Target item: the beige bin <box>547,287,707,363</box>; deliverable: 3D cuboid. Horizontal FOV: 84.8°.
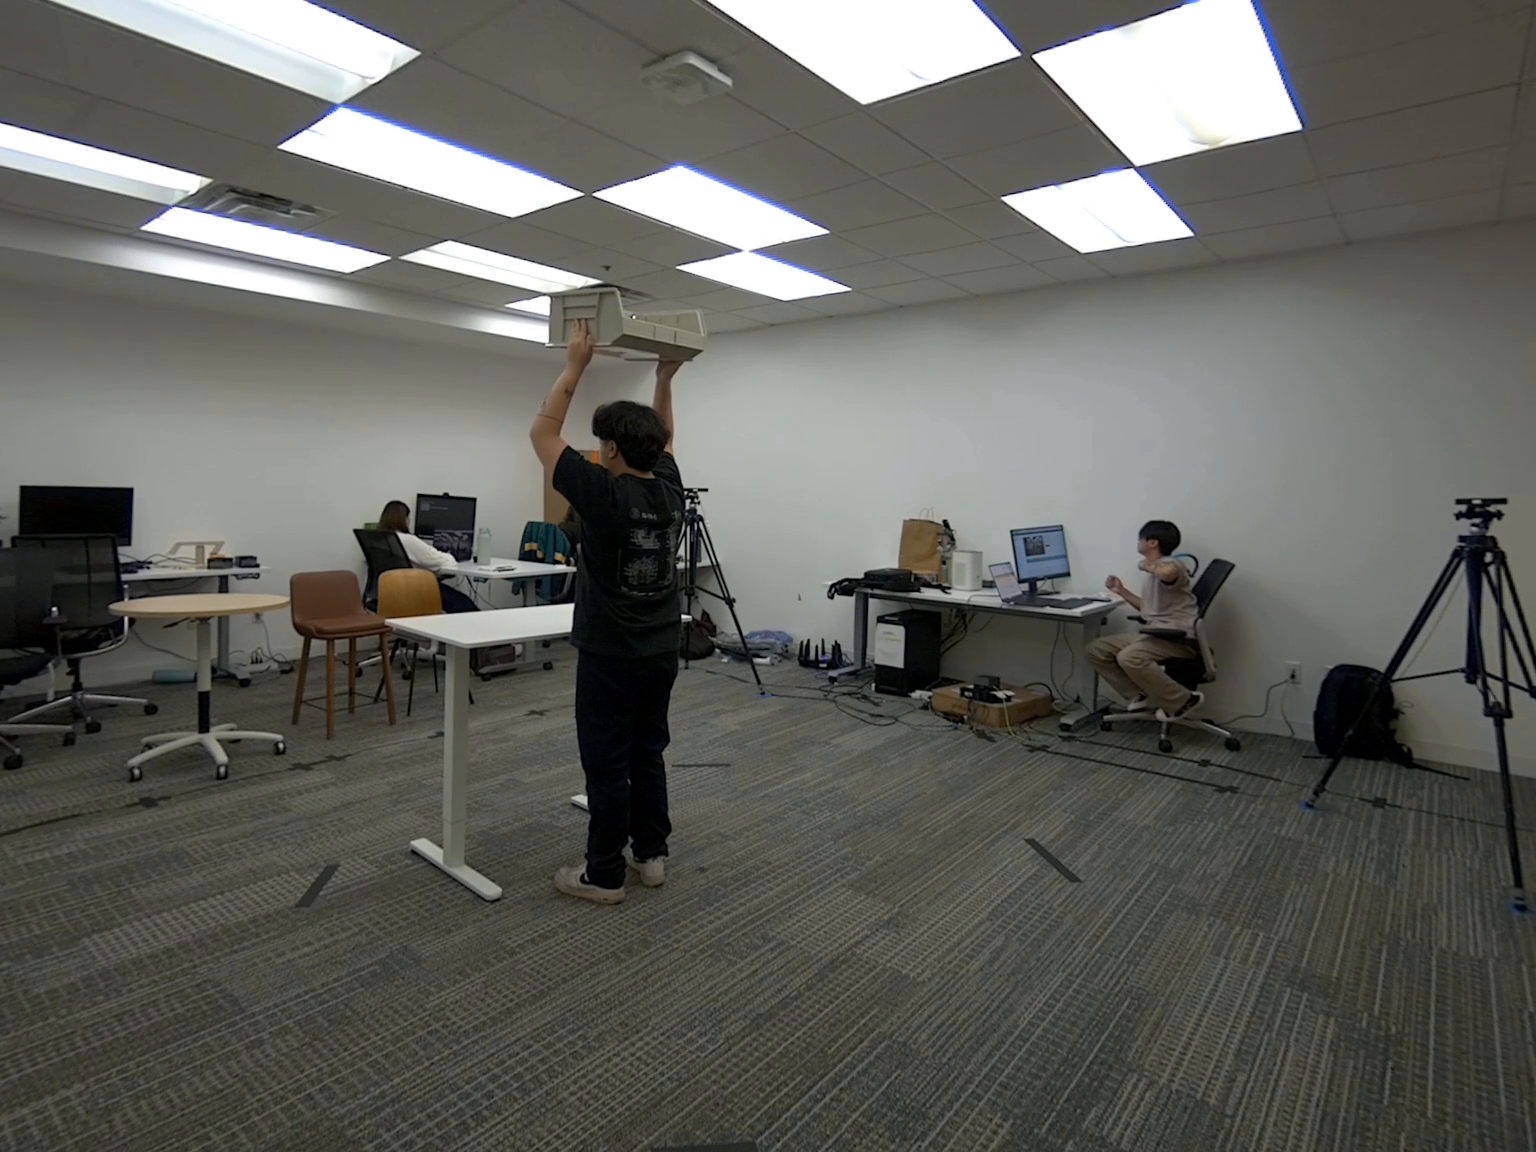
[{"bbox_3d":[-0.493,-0.850,2.907,0.390,0.188,0.411,10,10,35],"label":"beige bin"}]
